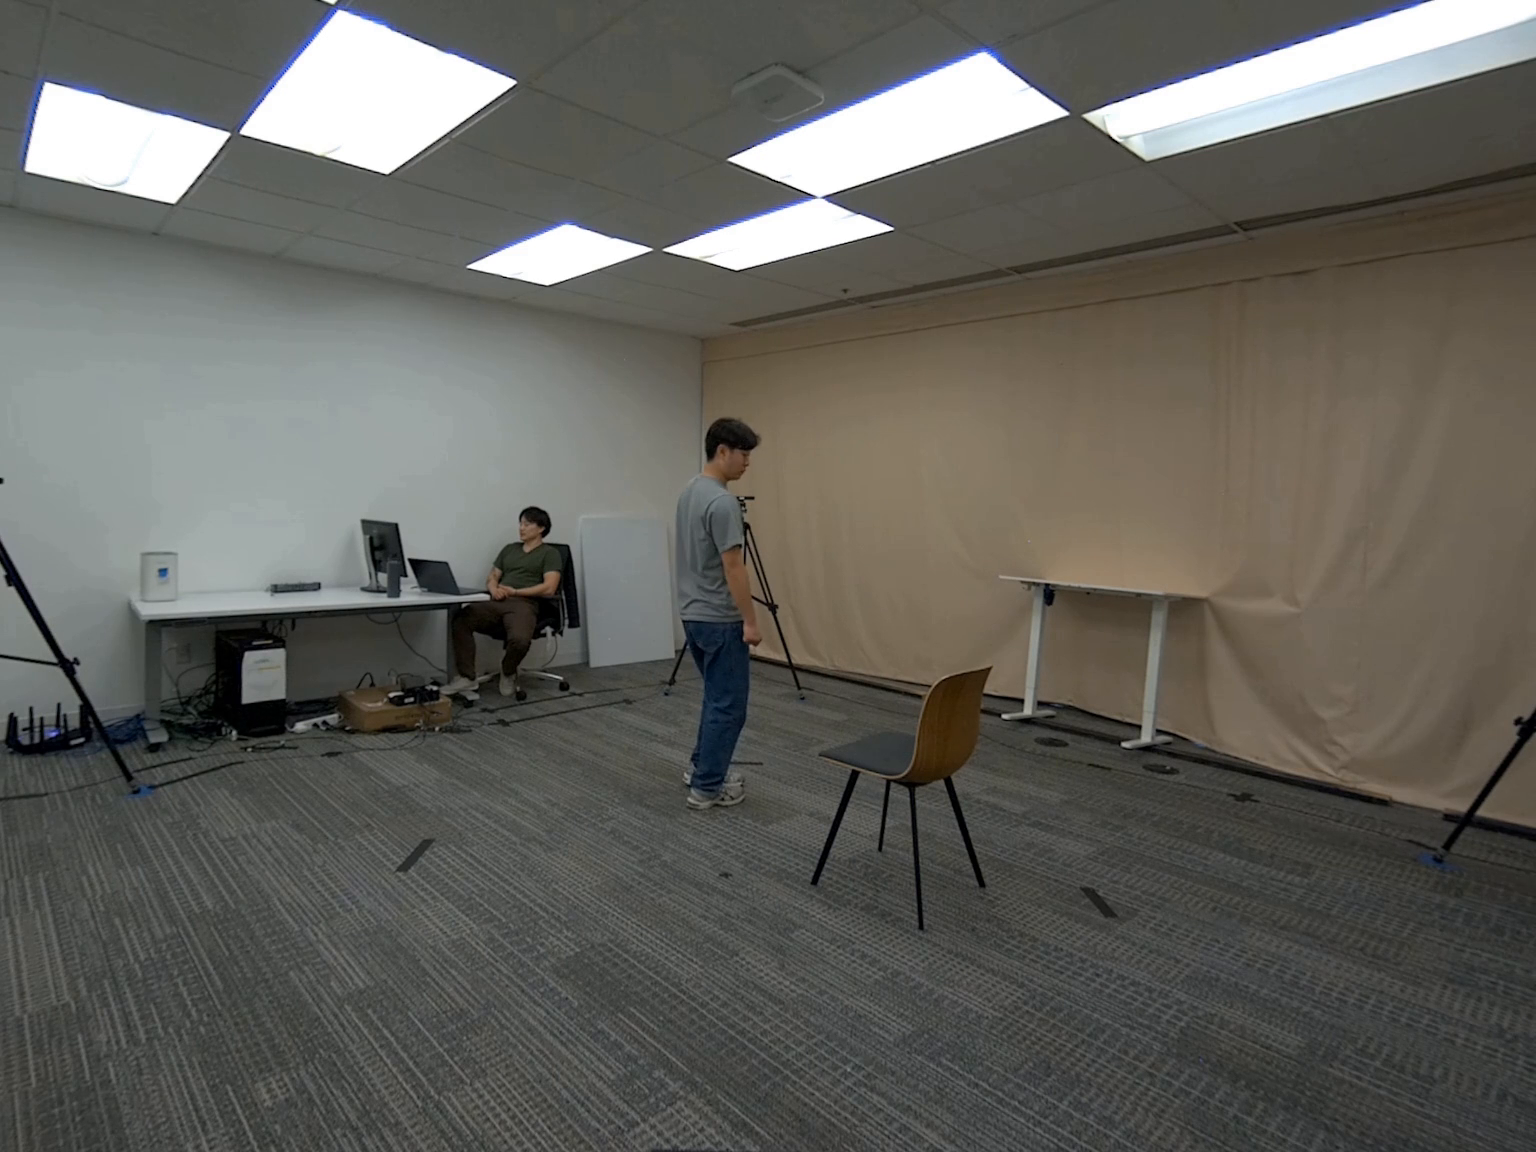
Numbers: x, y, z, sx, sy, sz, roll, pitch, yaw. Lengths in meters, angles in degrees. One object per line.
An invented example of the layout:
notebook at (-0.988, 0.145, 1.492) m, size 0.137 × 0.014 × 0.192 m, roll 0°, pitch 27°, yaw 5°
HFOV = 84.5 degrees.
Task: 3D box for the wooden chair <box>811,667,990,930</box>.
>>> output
wooden chair at (0.473, 0.698, 3.024) m, size 0.537 × 0.873 × 0.467 m, roll 11°, pitch 8°, yaw 41°
